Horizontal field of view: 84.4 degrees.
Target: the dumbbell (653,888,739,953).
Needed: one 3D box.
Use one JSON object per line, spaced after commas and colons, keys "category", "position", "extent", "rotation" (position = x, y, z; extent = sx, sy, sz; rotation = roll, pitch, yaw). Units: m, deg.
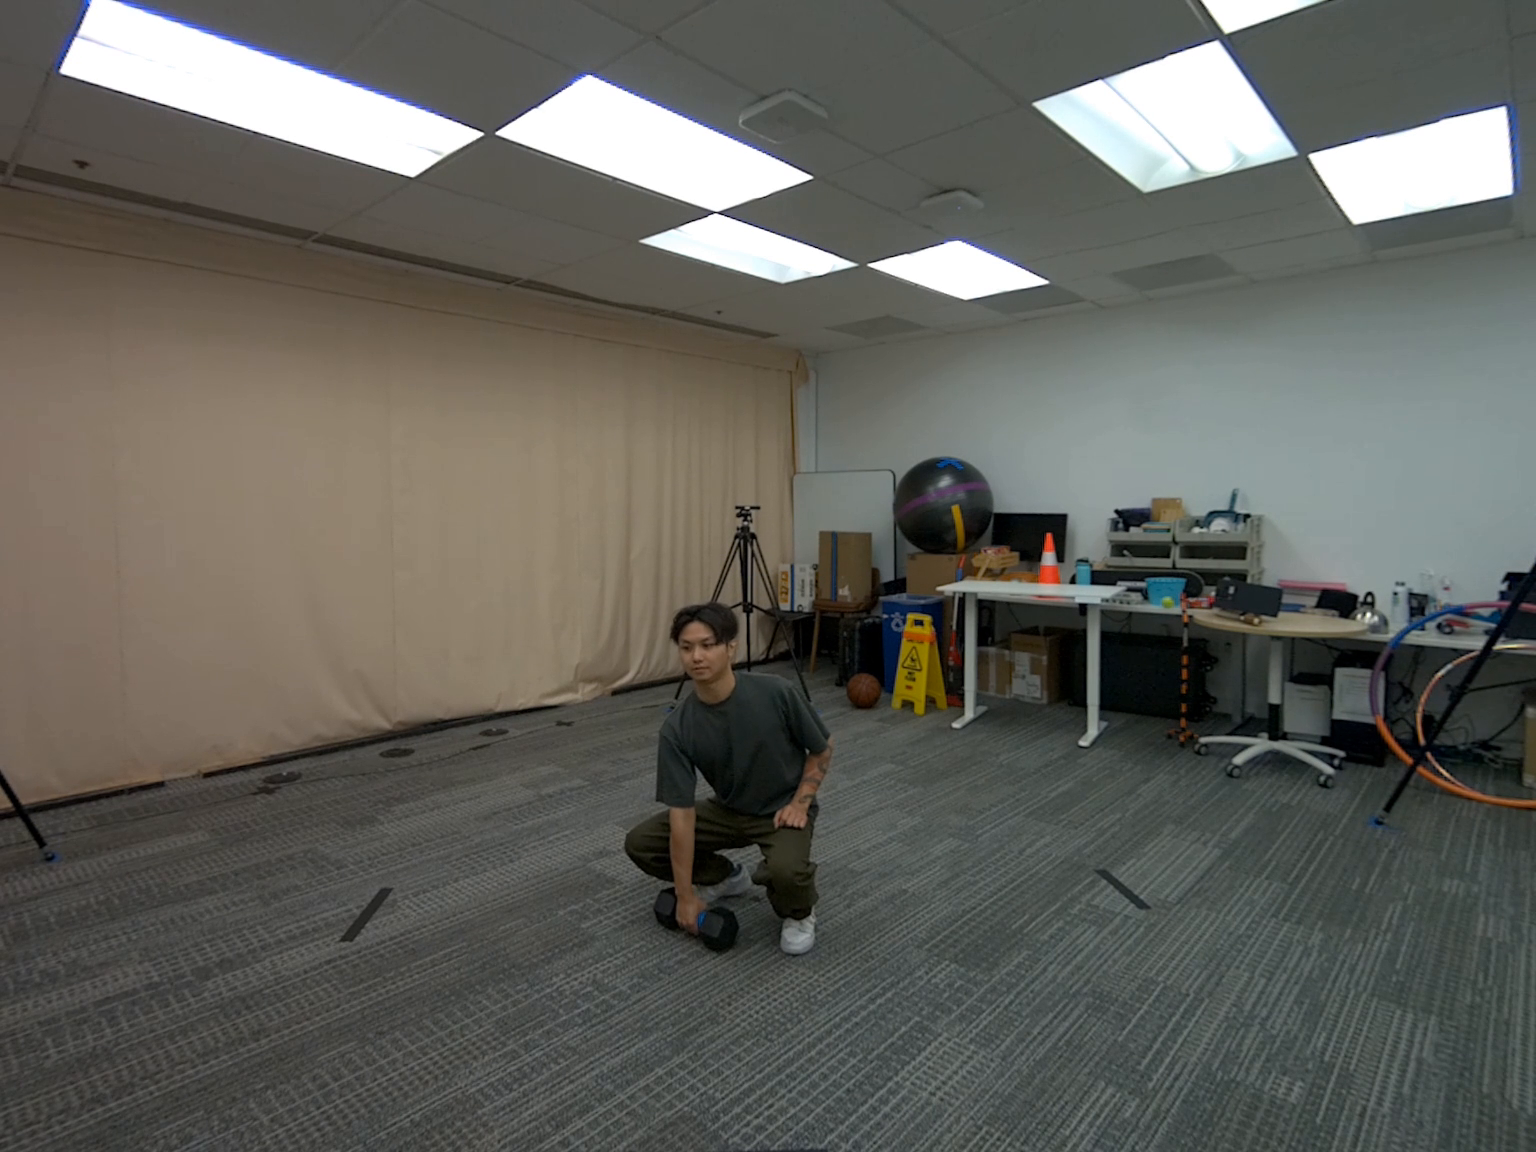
{"category": "dumbbell", "position": [-0.239, 1.106, 2.725], "extent": [0.303, 0.121, 0.107], "rotation": [3, 28, 43]}
